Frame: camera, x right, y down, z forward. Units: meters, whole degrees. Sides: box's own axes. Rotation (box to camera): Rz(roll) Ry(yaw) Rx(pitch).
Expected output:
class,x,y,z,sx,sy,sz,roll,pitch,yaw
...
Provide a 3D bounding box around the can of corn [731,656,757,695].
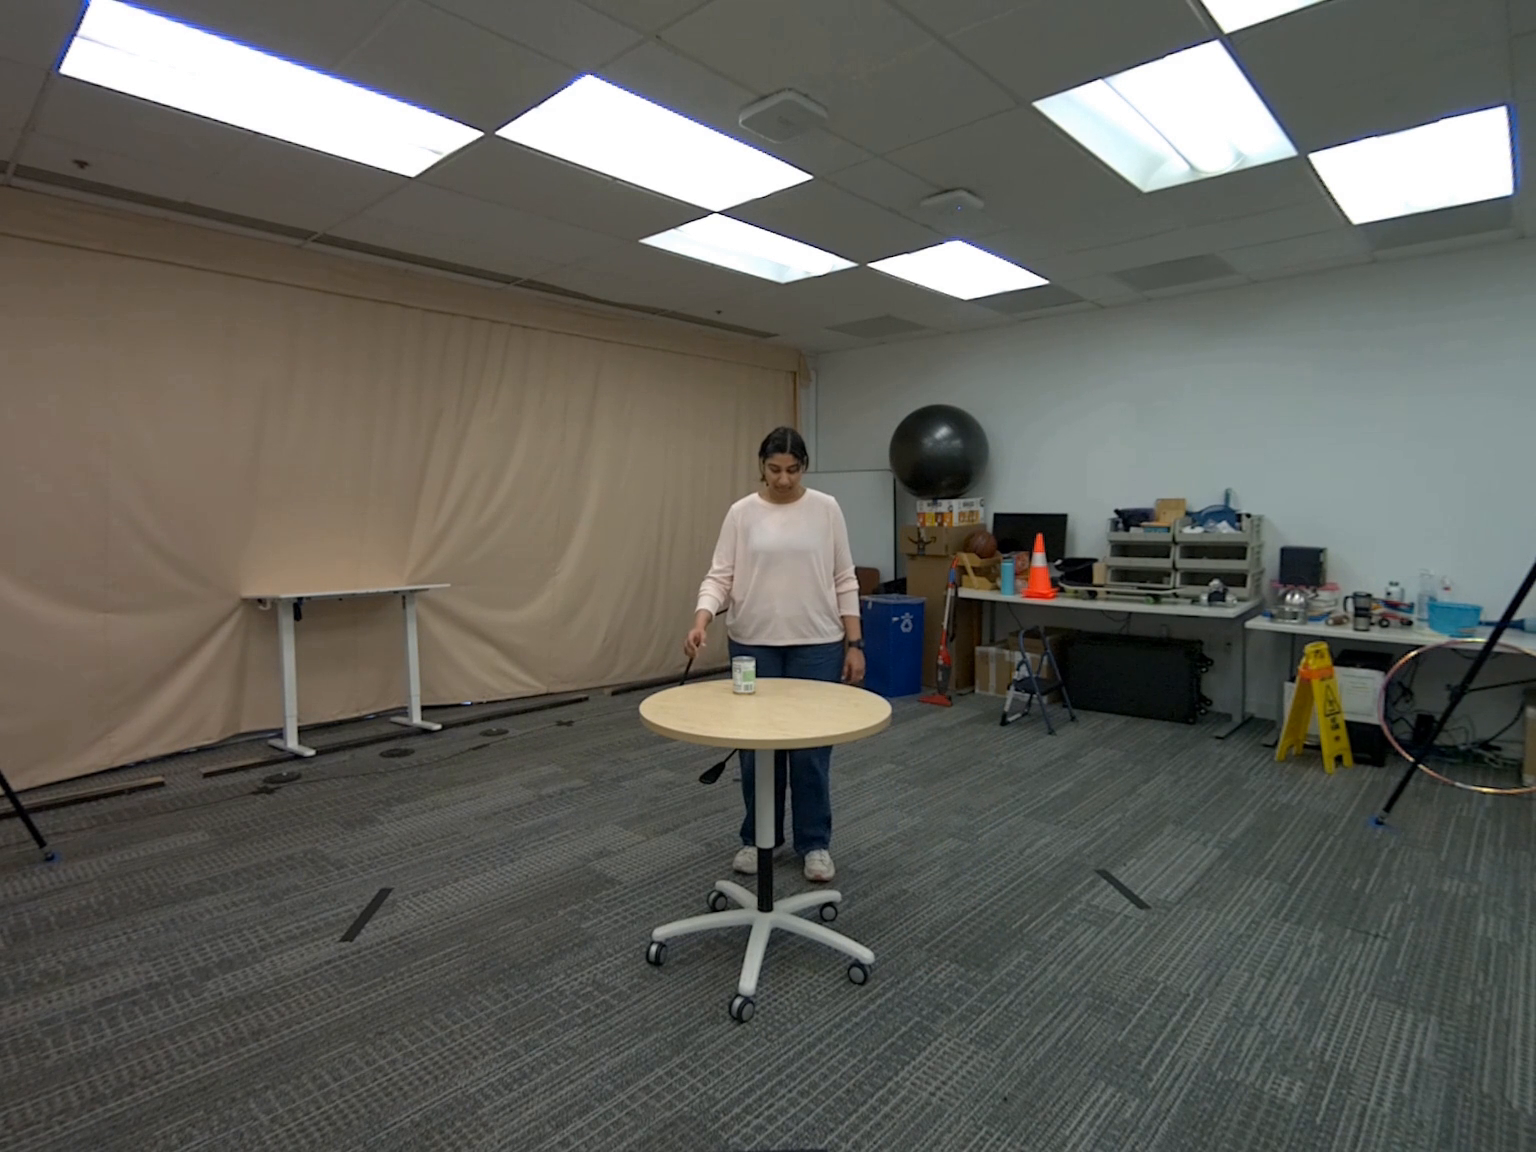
class,x,y,z,sx,sy,sz,roll,pitch,yaw
can of corn,-0.080,0.323,2.744,0.074,0.111,0.074,1,3,-2
